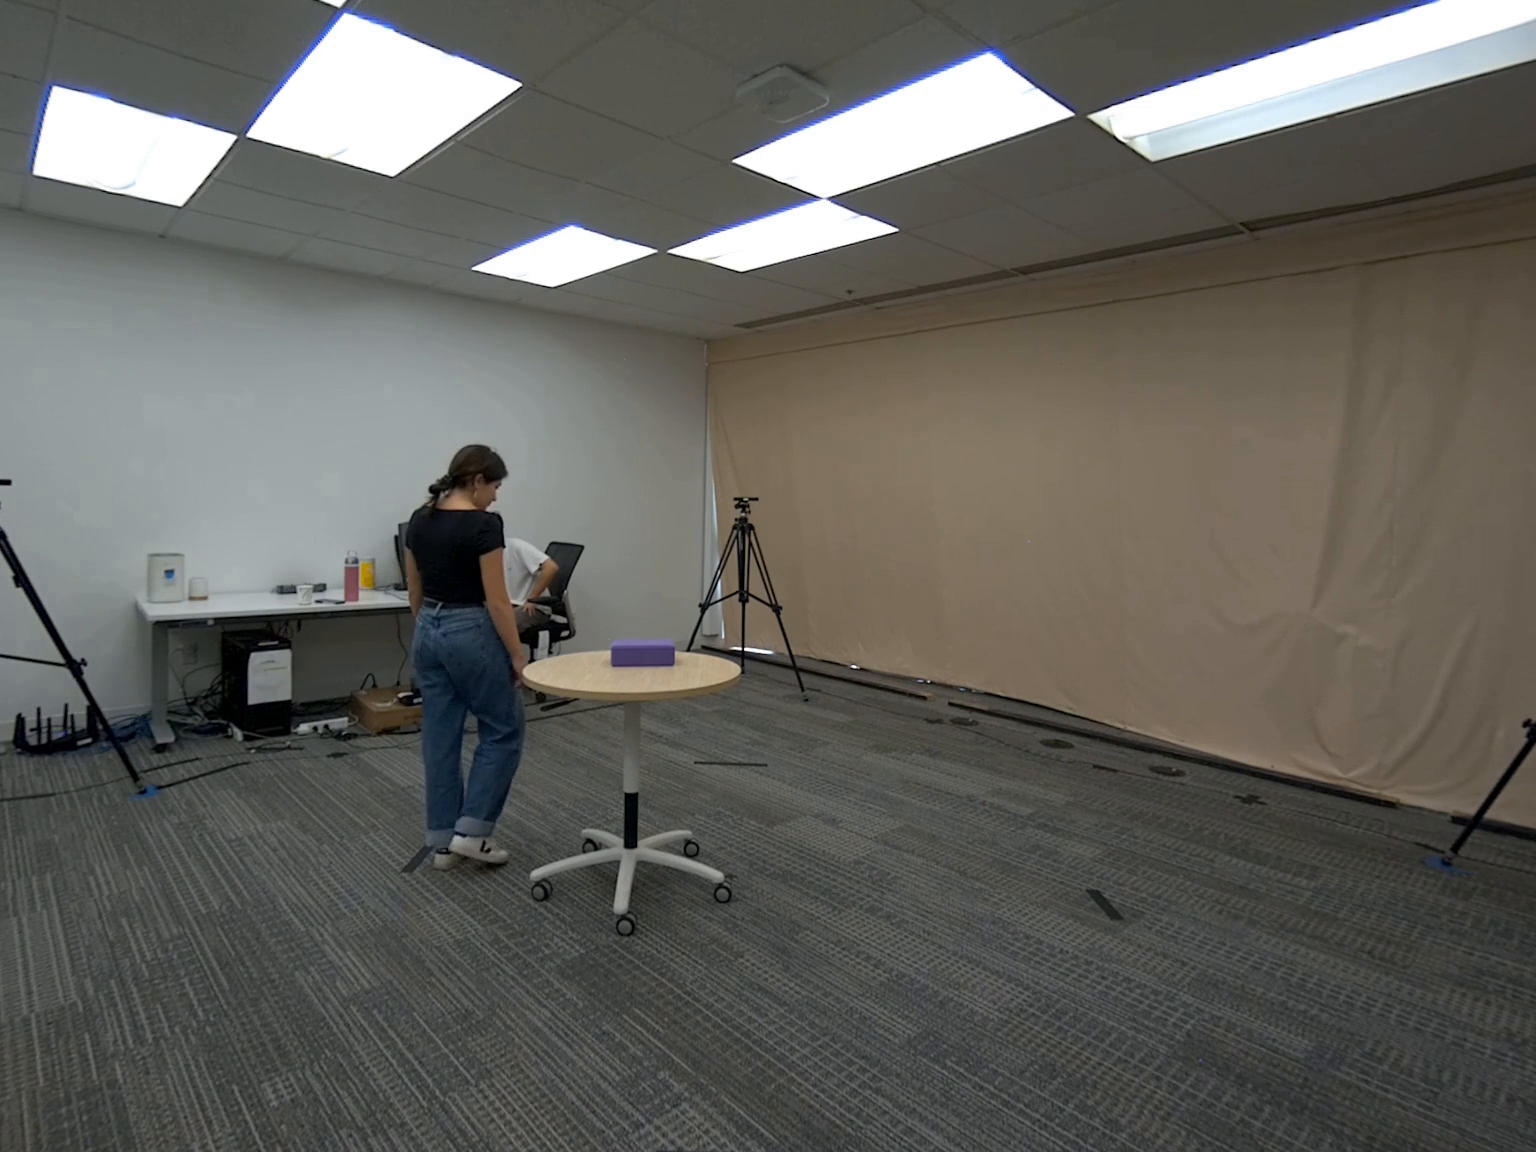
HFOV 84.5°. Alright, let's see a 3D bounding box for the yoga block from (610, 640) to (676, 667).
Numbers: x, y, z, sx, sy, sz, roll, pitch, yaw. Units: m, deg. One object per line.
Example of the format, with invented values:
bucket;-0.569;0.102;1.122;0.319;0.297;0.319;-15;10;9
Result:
yoga block;-0.470;0.286;3.075;0.228;0.076;0.150;0;5;-7
